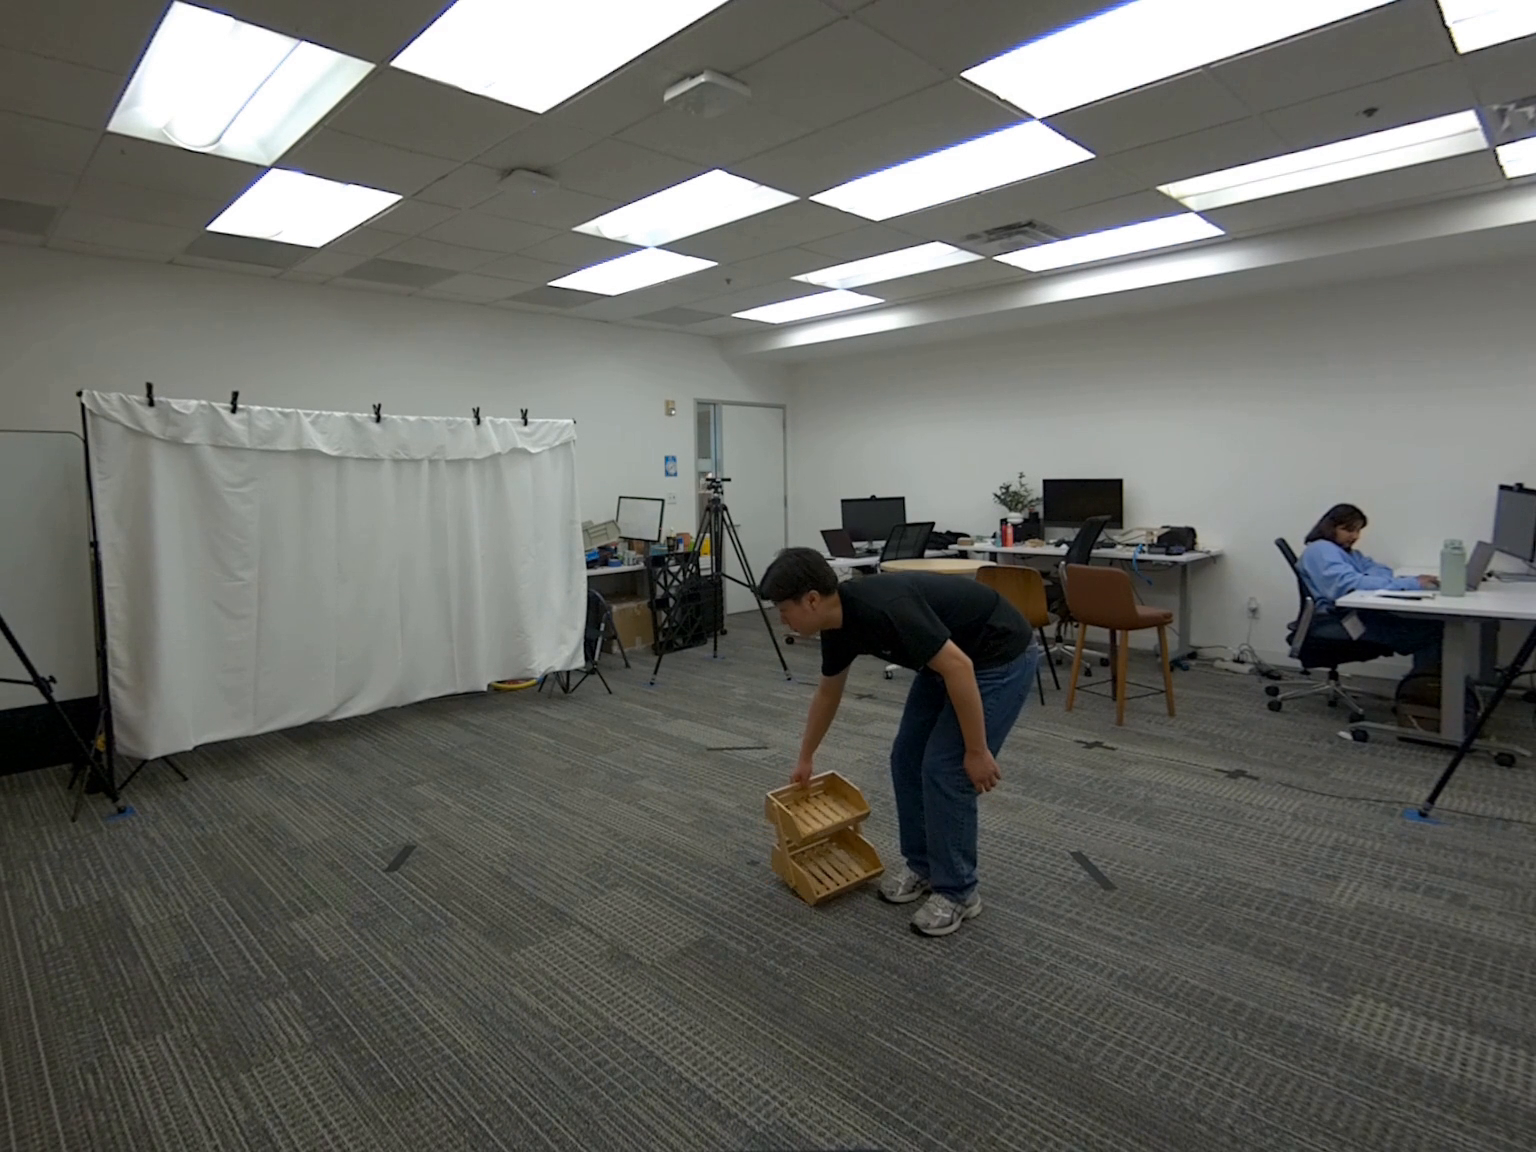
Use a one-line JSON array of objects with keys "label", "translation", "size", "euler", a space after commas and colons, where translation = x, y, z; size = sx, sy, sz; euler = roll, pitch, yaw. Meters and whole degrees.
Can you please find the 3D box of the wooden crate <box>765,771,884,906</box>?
[{"label": "wooden crate", "translation": [0.196, 0.878, 2.916], "size": [0.317, 0.269, 0.313], "euler": [-9, 20, -32]}]
